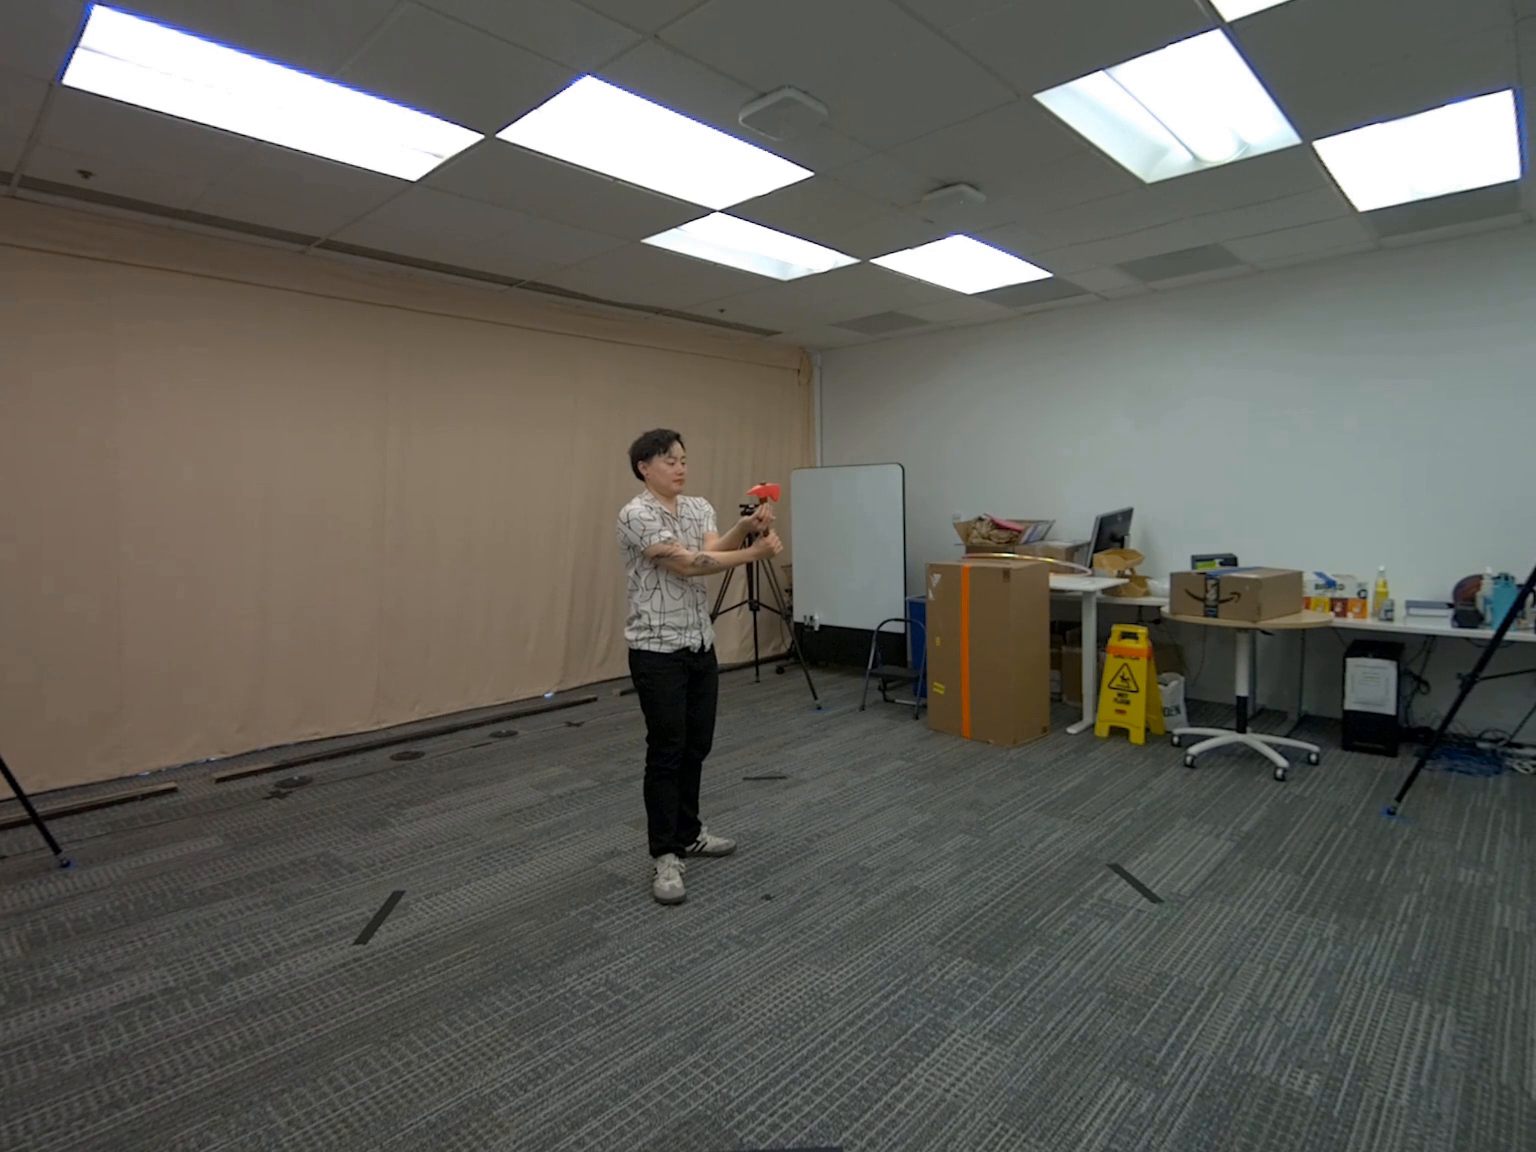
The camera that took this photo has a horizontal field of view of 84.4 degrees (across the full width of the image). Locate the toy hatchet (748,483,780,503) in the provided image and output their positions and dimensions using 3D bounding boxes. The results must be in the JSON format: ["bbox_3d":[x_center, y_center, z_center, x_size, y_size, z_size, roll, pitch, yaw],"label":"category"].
[{"bbox_3d":[0.022,-0.215,2.996,0.129,0.264,0.030,-30,27,-21],"label":"toy hatchet"}]
